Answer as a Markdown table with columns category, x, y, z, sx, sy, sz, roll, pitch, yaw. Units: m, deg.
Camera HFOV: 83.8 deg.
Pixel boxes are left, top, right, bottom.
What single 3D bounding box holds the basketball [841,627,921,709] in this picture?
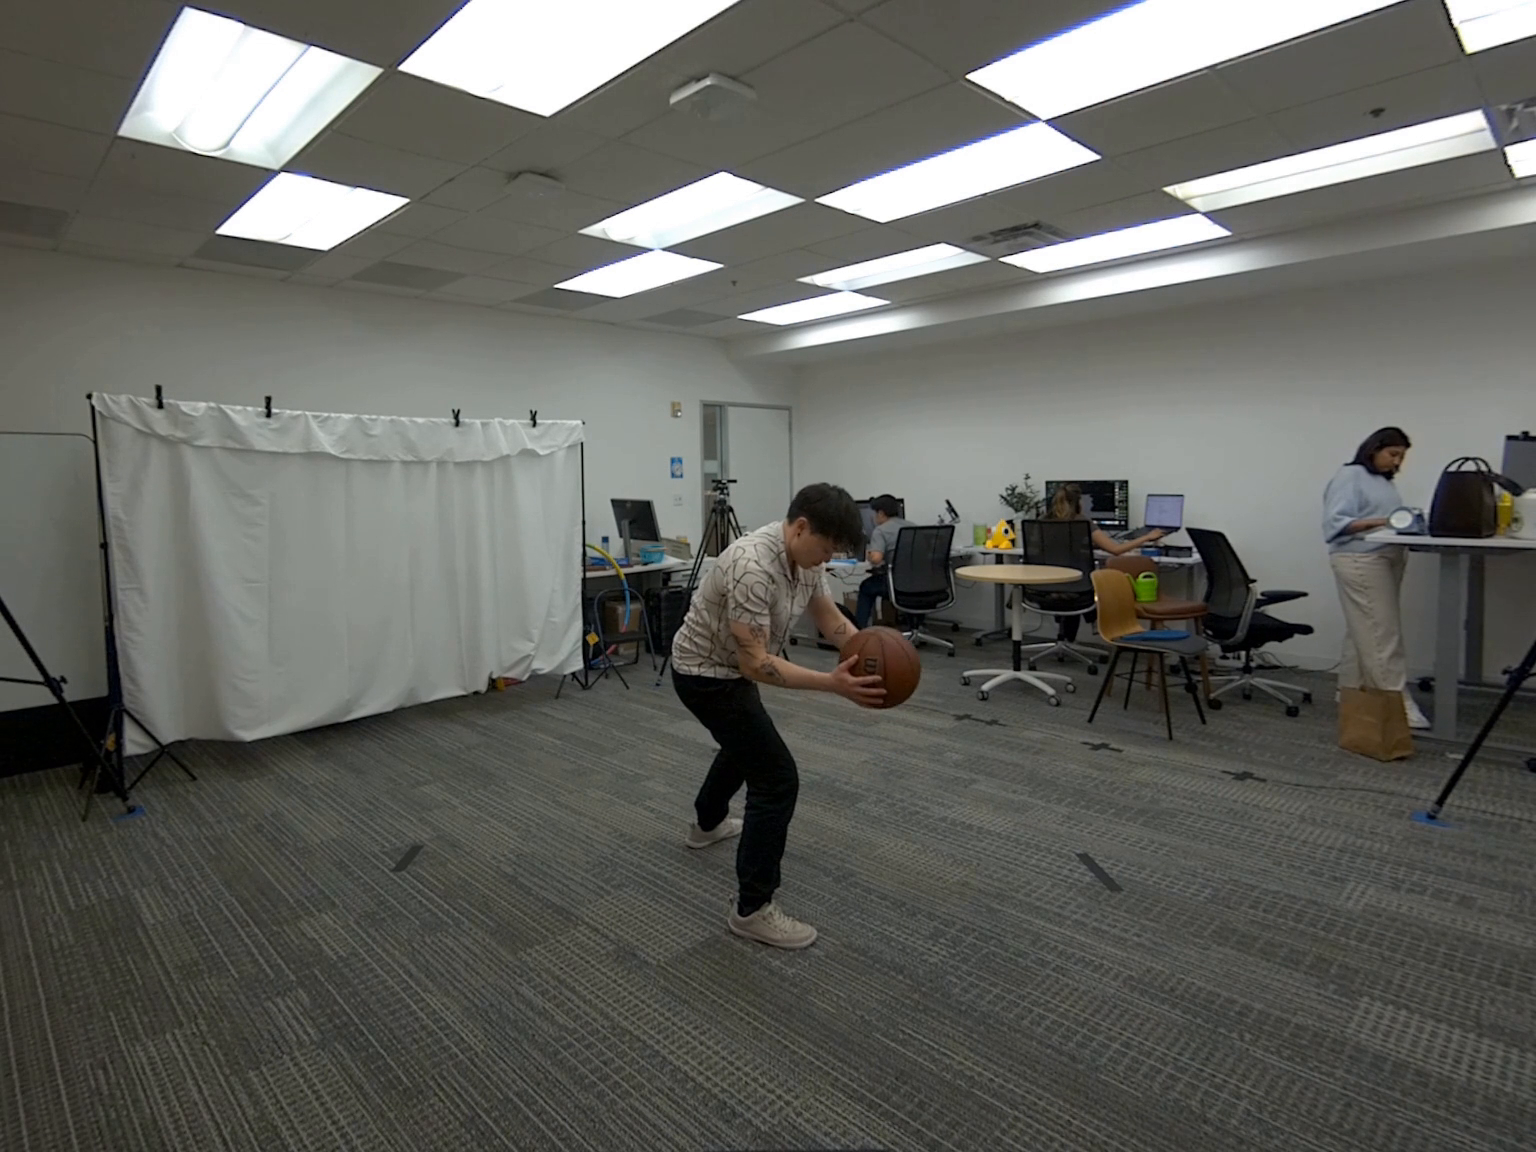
| category | x | y | z | sx | sy | sz | roll | pitch | yaw |
| --- | --- | --- | --- | --- | --- | --- | --- | --- | --- |
| basketball | 0.322 | 0.265 | 2.497 | 0.236 | 0.235 | 0.237 | -1 | 5 | -2 |
